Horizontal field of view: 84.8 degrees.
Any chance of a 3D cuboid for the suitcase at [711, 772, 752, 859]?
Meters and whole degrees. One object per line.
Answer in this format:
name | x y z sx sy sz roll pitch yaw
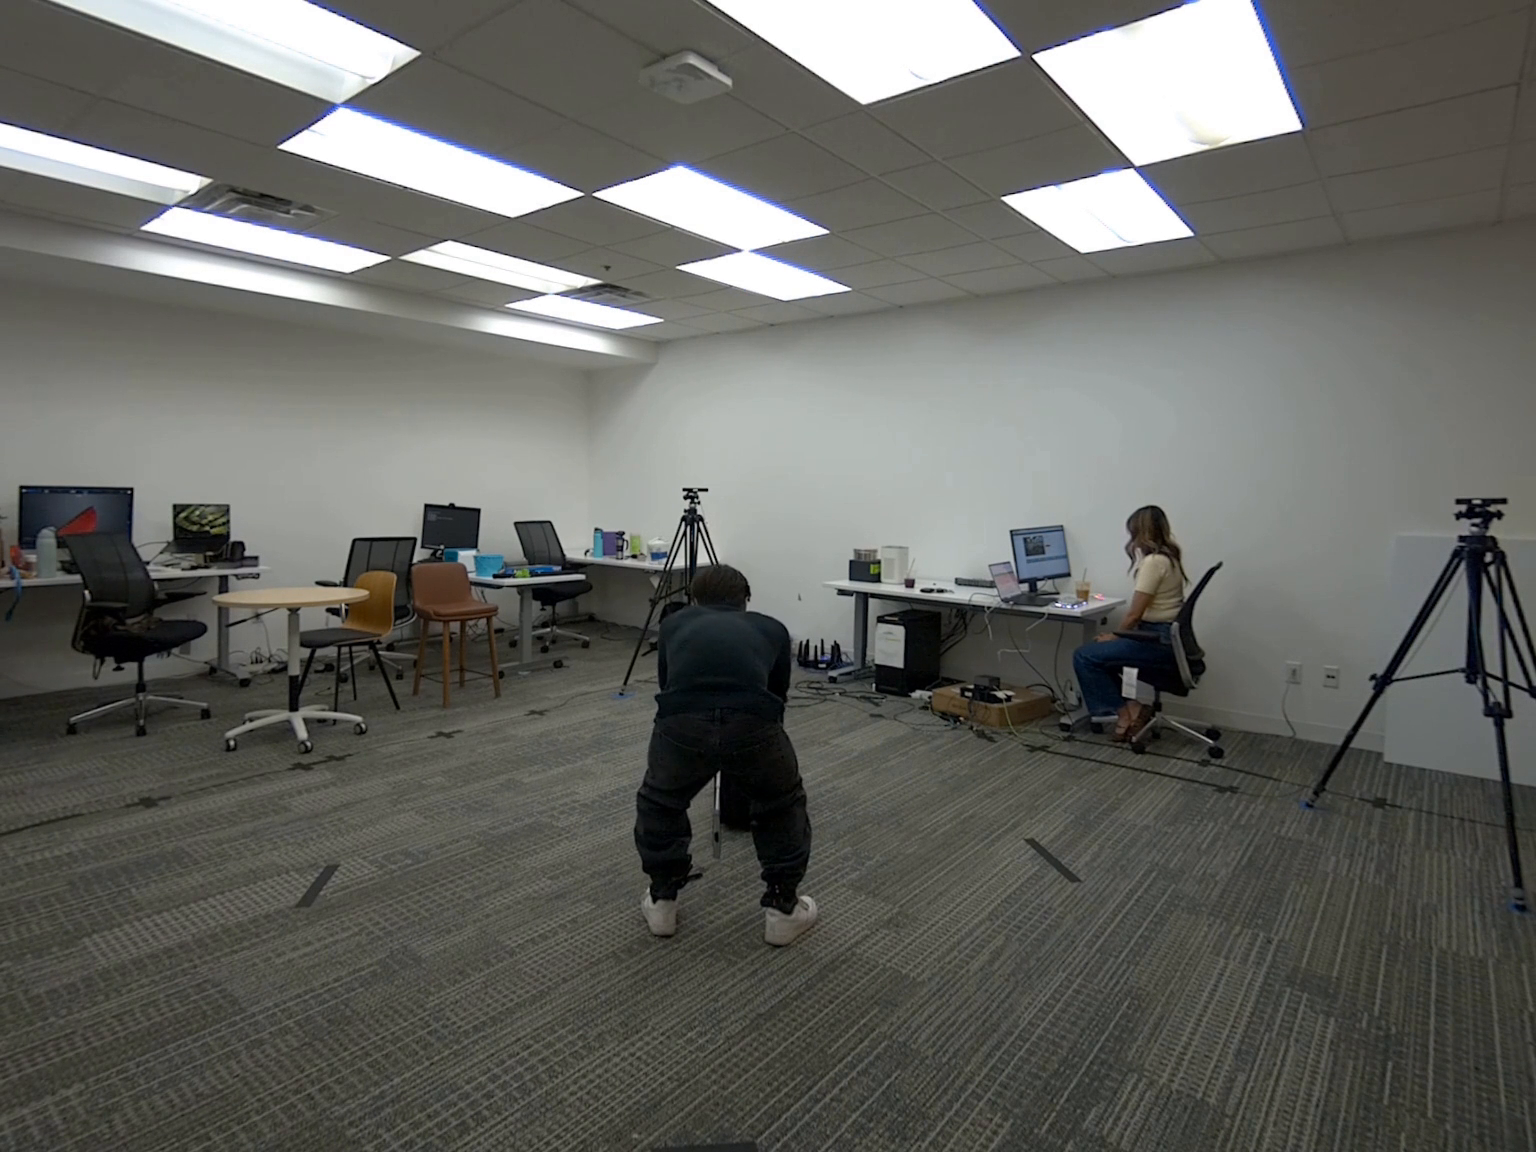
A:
suitcase | -0.098 0.845 3.476 0.257 0.382 0.984 -1 5 -3
